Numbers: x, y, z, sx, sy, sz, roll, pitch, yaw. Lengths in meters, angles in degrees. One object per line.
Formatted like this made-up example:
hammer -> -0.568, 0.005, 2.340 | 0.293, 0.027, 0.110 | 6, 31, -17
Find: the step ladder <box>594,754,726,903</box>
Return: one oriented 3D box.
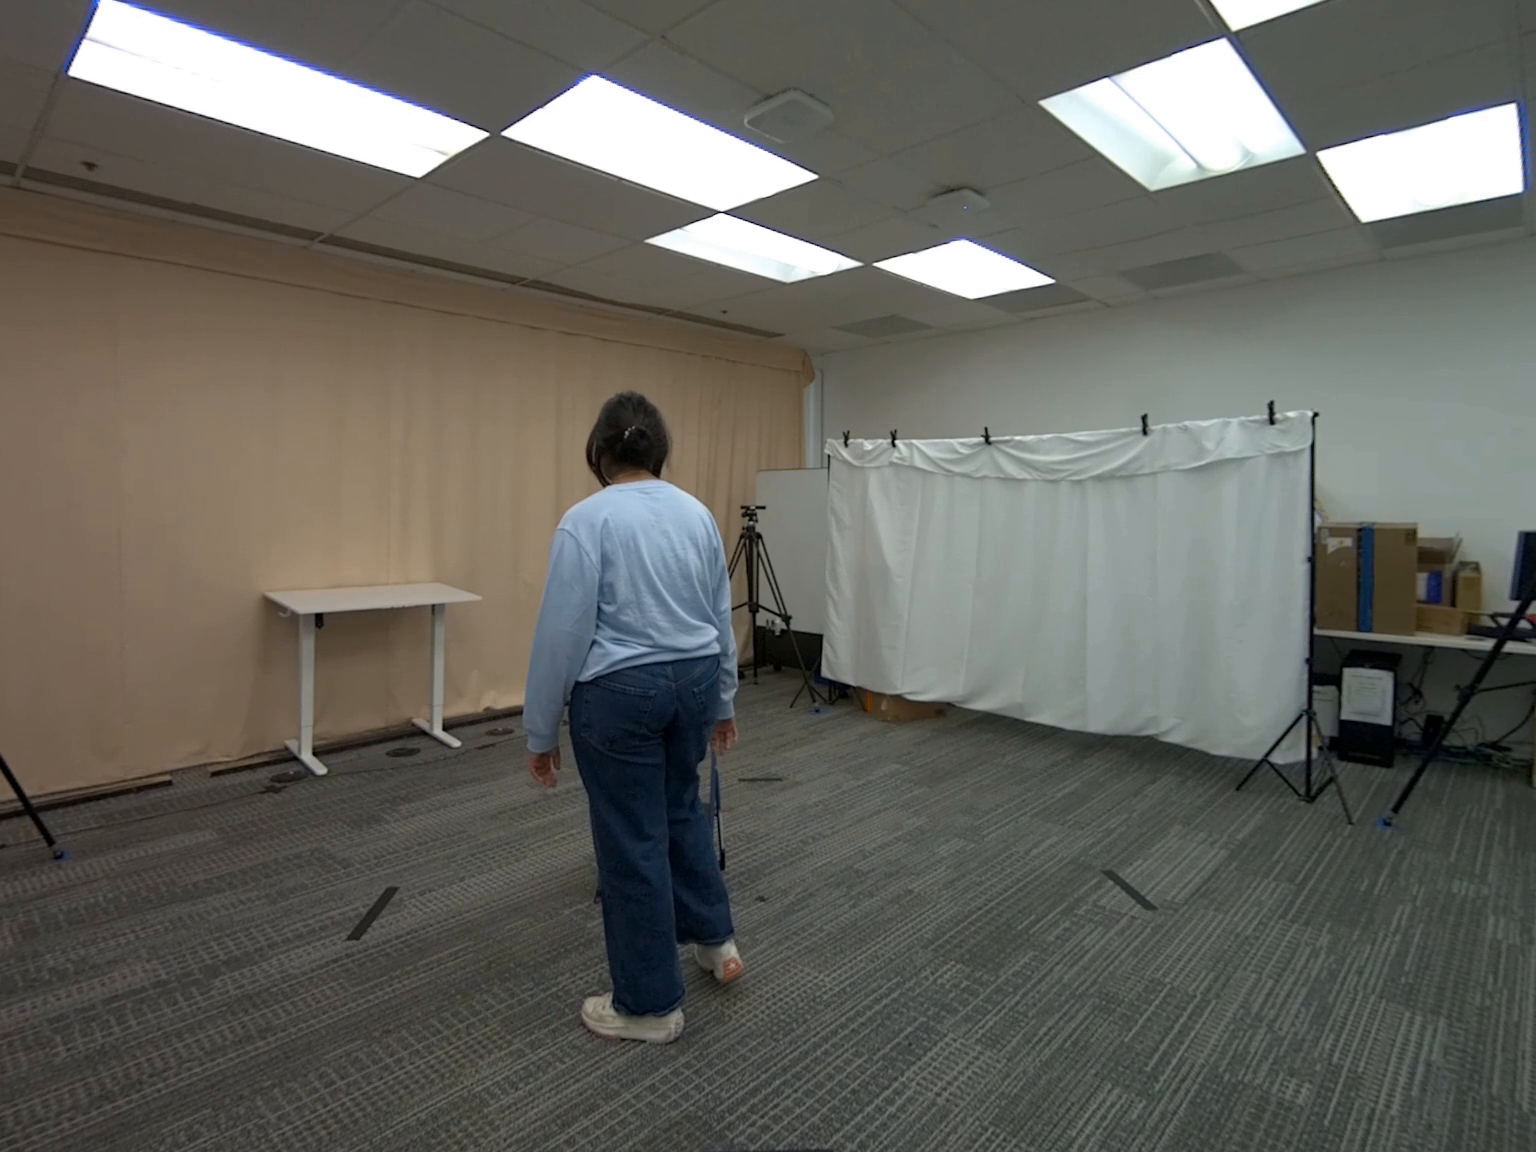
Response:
step ladder -> -0.390, 0.836, 3.086 | 0.435, 0.605, 0.346 | 0, 4, 9
